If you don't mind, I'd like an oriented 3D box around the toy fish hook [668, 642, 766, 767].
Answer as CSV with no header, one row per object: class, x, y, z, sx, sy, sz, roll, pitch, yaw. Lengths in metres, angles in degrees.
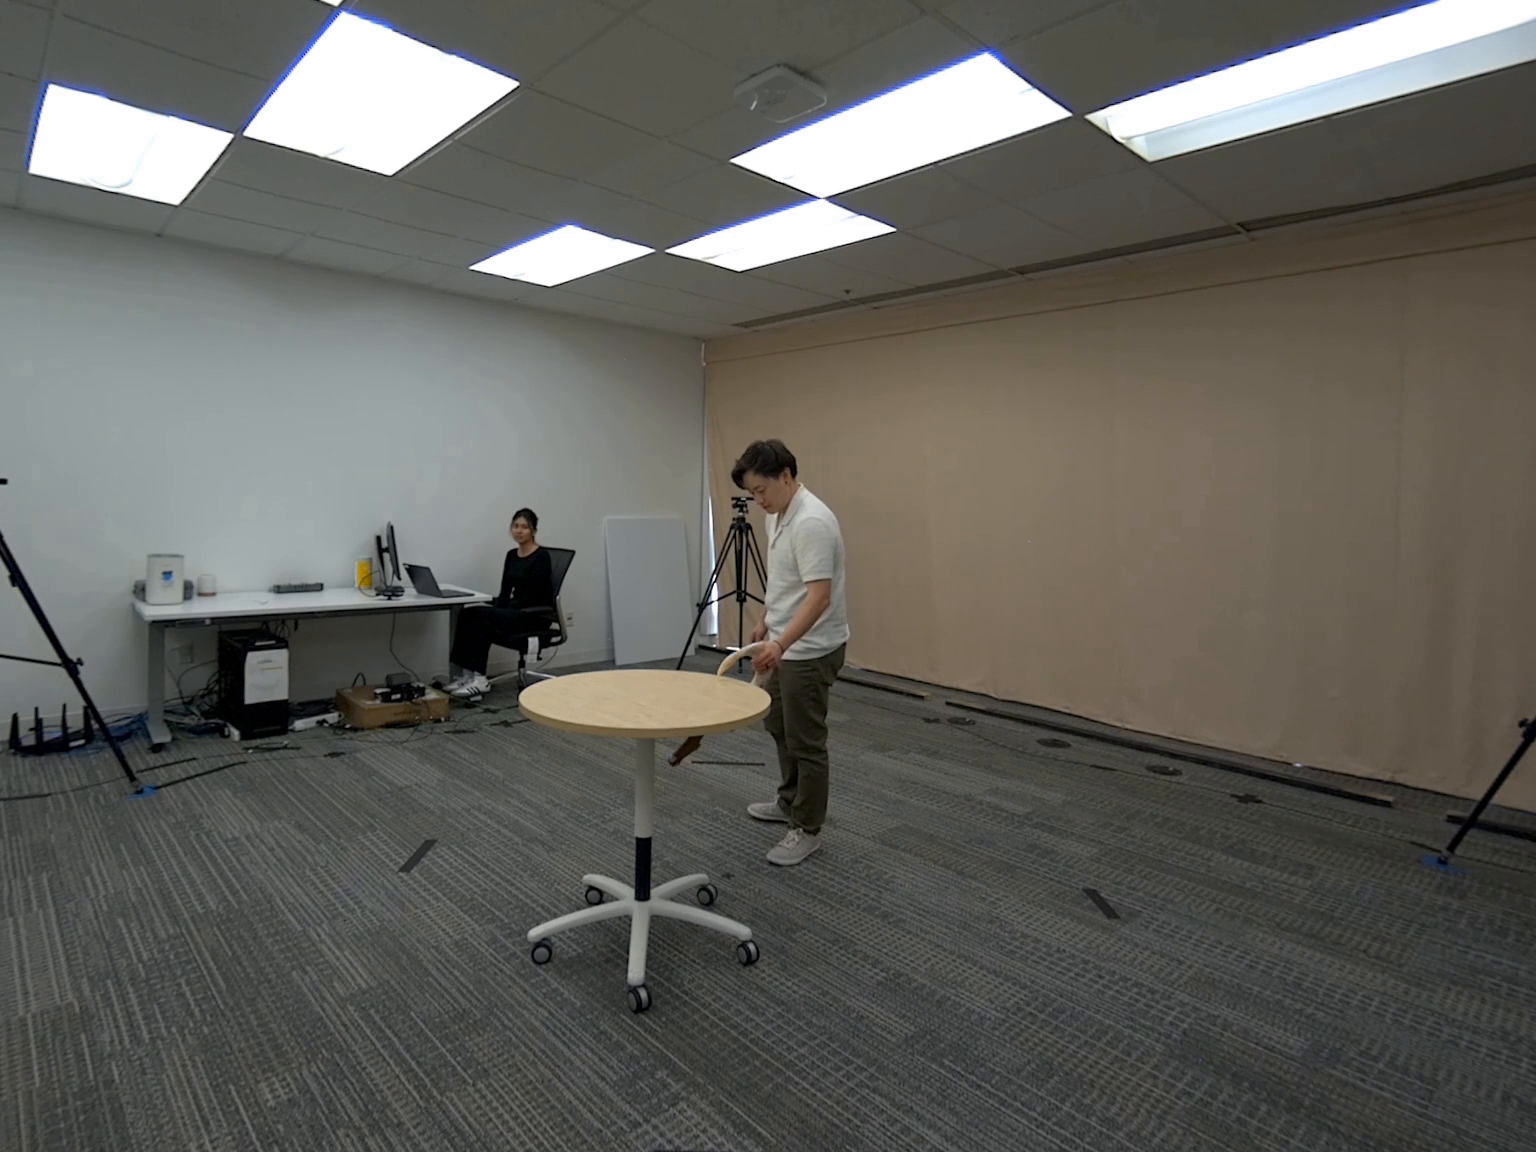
toy fish hook,-0.188,0.433,2.861,0.506,0.218,0.050,-44,37,-18
